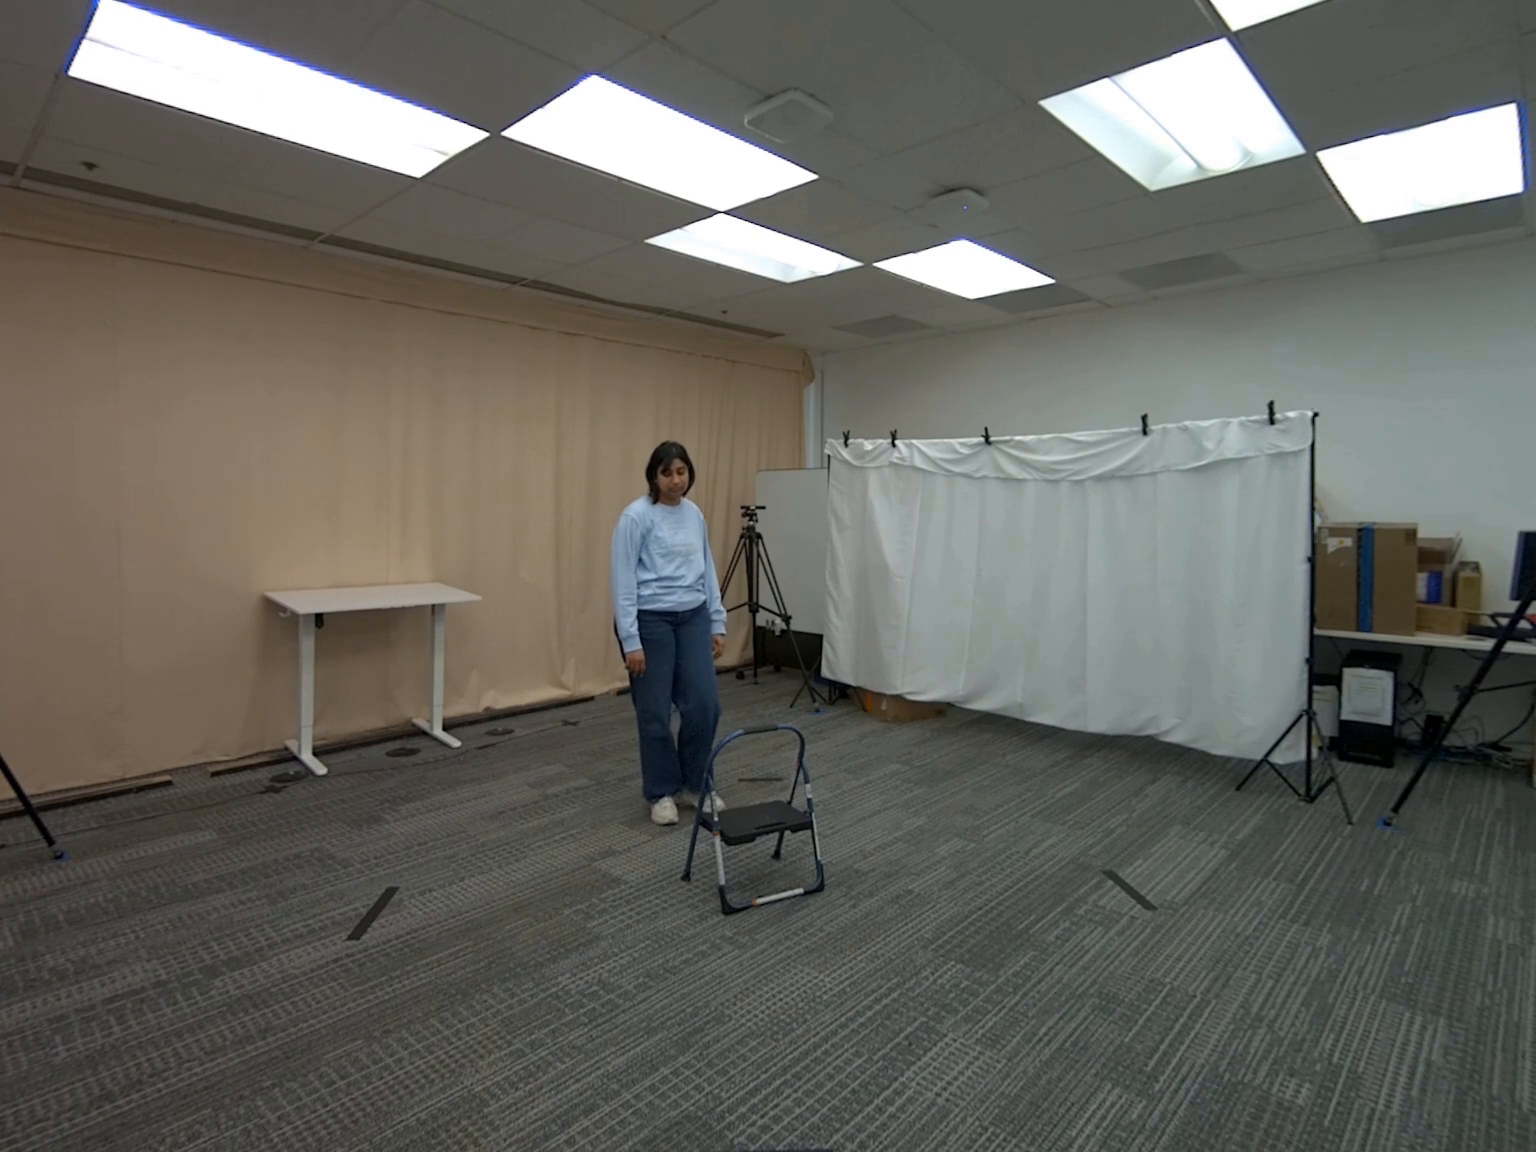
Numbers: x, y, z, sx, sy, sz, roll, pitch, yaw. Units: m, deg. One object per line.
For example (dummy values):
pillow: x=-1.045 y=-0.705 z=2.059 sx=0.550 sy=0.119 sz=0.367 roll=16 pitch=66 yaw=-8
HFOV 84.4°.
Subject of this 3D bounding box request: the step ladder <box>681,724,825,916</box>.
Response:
step ladder: x=-0.054 y=0.832 z=3.082 sx=0.419 sy=0.605 sz=0.359 roll=-2 pitch=4 yaw=-30
